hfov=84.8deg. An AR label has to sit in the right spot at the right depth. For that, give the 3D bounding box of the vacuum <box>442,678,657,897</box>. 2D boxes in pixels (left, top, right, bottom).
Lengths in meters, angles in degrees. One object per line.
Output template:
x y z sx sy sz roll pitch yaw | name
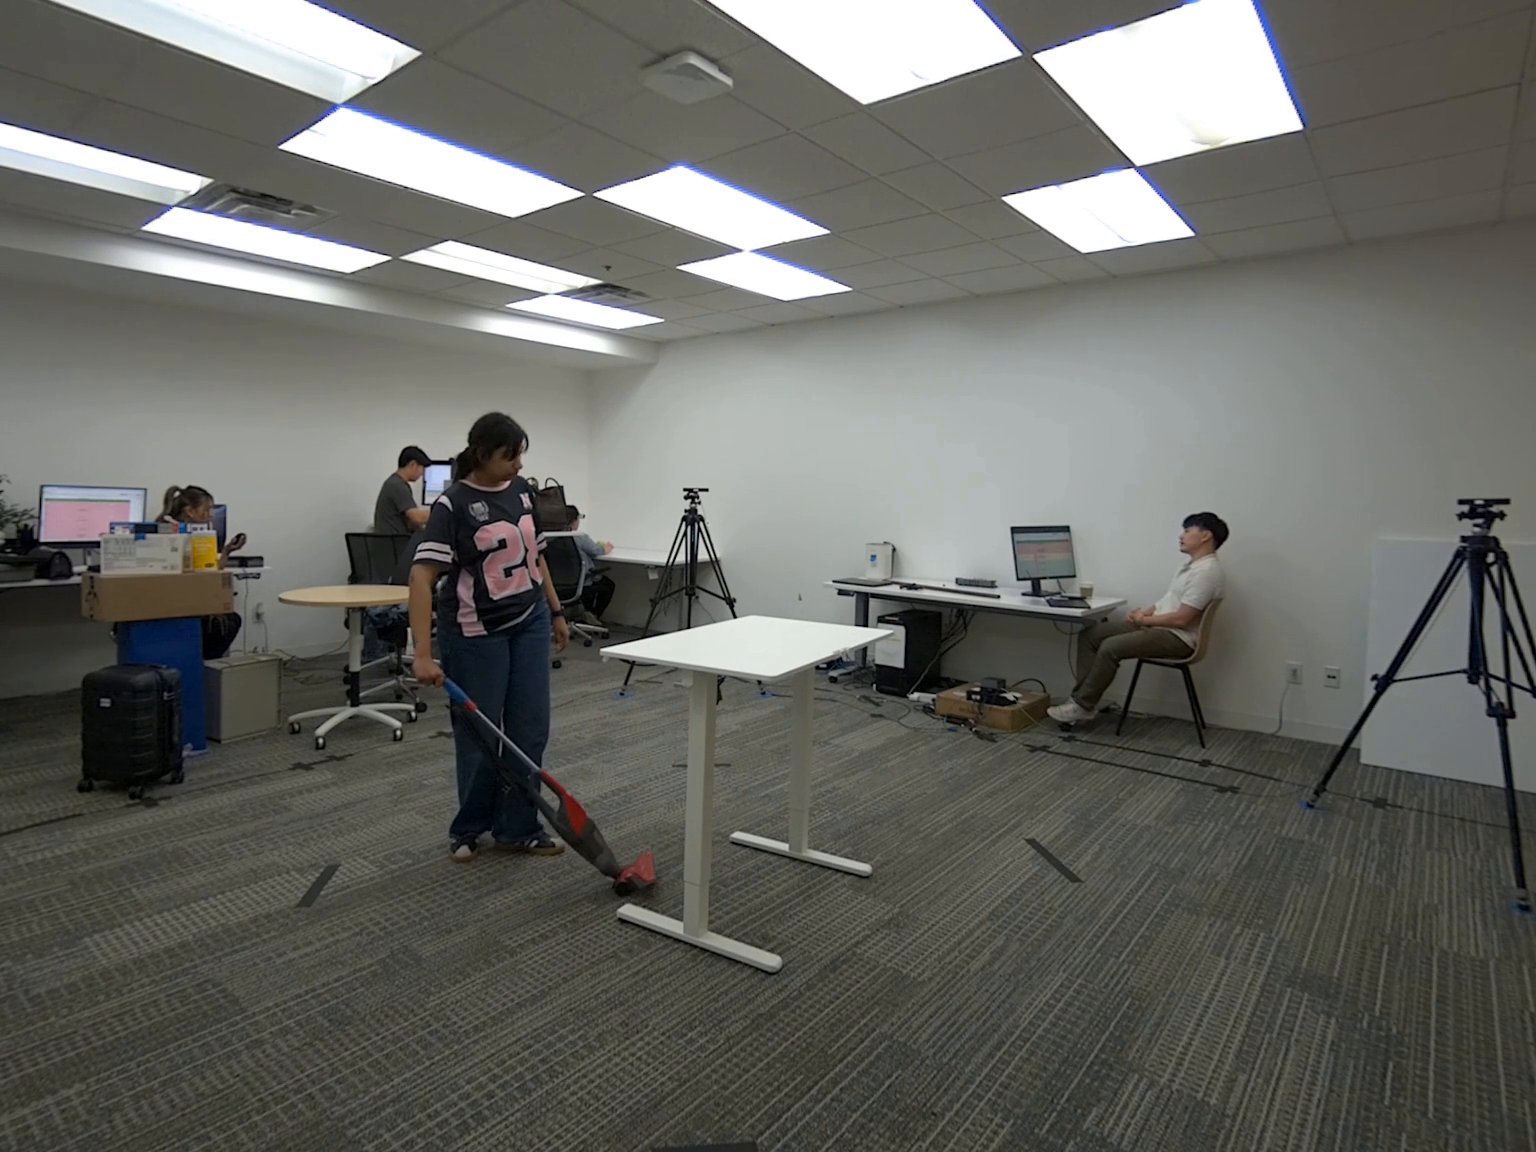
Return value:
-0.830 0.696 2.895 1.039 0.144 0.255 44 -4 -7 | vacuum
